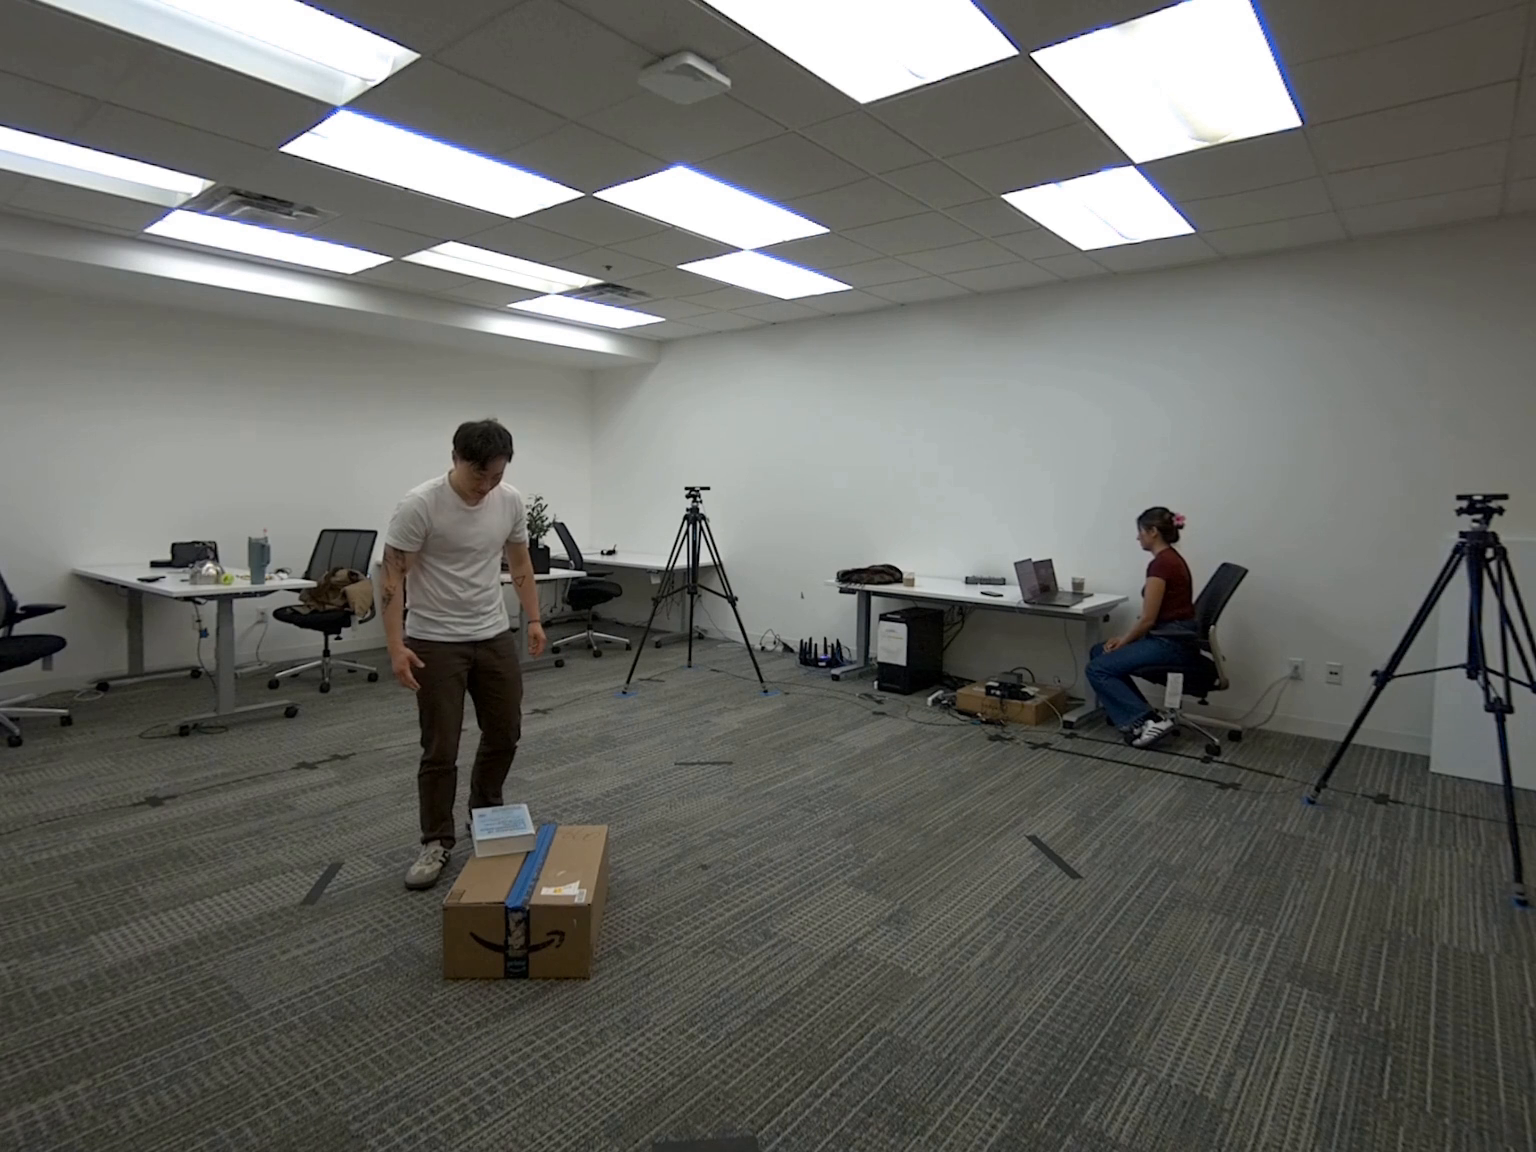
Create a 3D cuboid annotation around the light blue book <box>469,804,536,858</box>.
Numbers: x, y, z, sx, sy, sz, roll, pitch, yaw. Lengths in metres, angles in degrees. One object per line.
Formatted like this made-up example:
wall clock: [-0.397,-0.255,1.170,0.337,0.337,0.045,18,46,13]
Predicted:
light blue book: [-0.897,0.843,2.834,0.187,0.059,0.267,-2,7,-21]
